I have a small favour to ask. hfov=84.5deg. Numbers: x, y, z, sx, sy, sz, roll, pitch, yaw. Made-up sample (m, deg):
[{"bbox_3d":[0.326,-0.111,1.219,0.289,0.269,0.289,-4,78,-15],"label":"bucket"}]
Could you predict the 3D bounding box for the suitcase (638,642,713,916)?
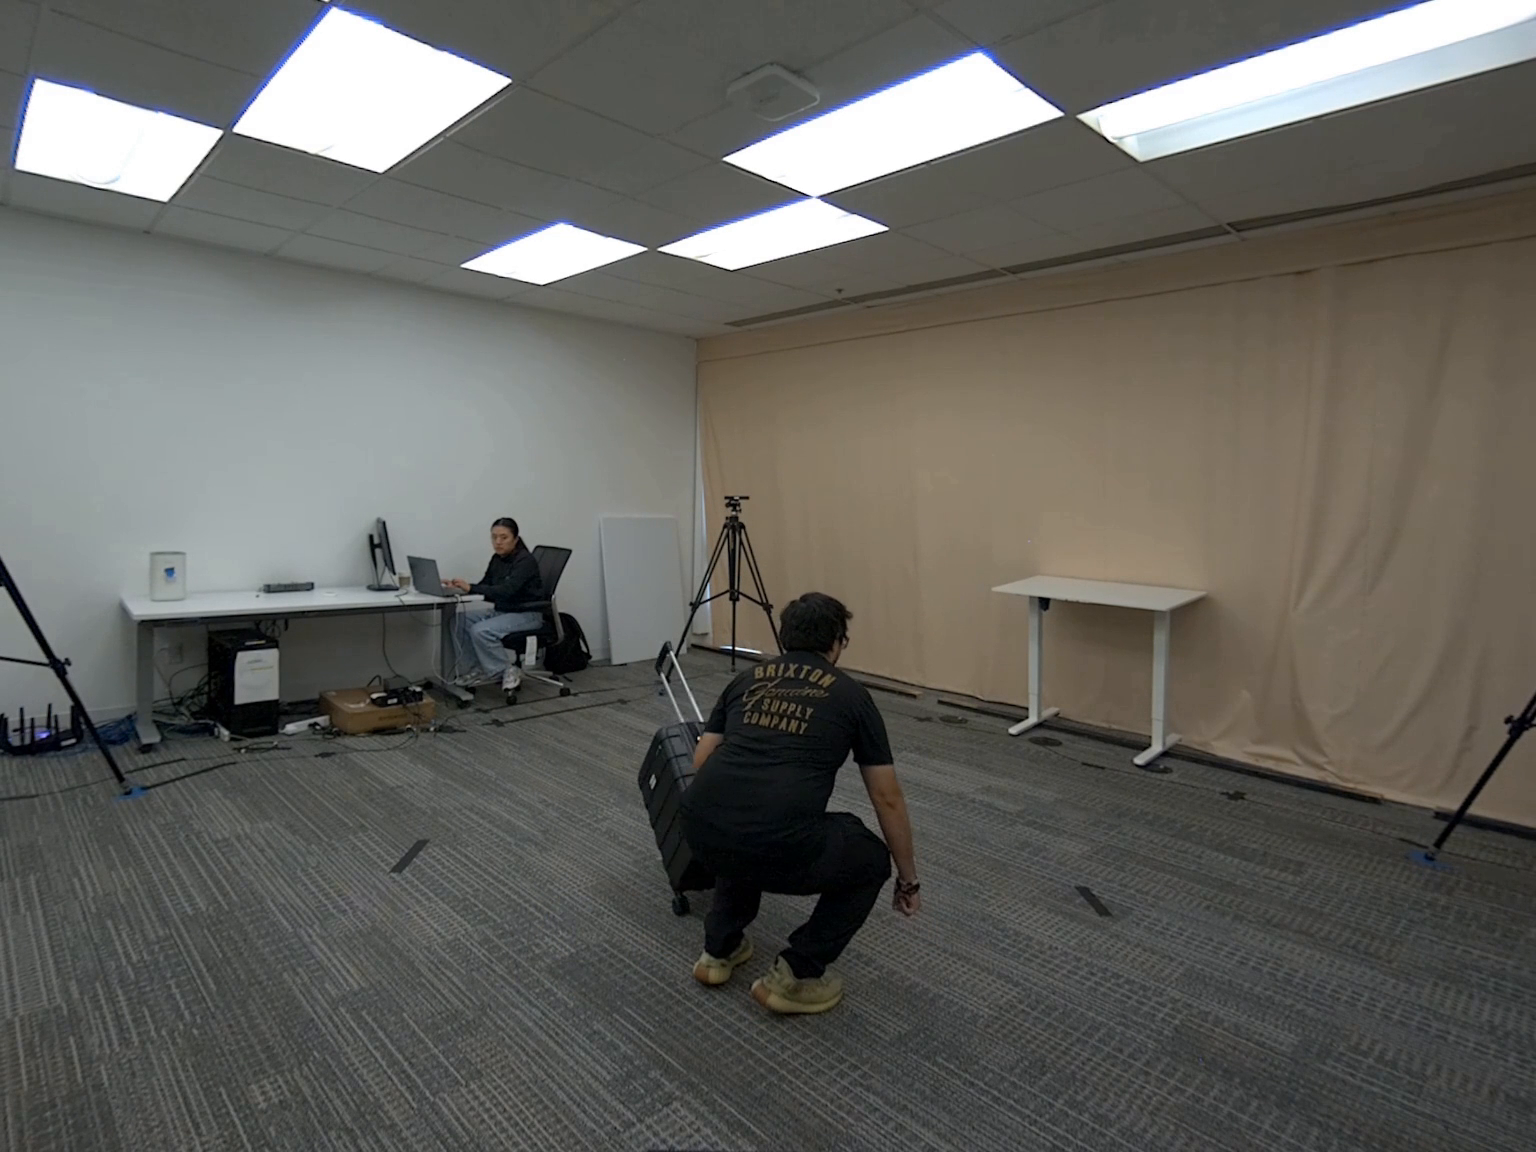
[{"bbox_3d":[-0.338,0.661,3.057,0.252,0.380,1.008,-3,44,-31],"label":"suitcase"}]
